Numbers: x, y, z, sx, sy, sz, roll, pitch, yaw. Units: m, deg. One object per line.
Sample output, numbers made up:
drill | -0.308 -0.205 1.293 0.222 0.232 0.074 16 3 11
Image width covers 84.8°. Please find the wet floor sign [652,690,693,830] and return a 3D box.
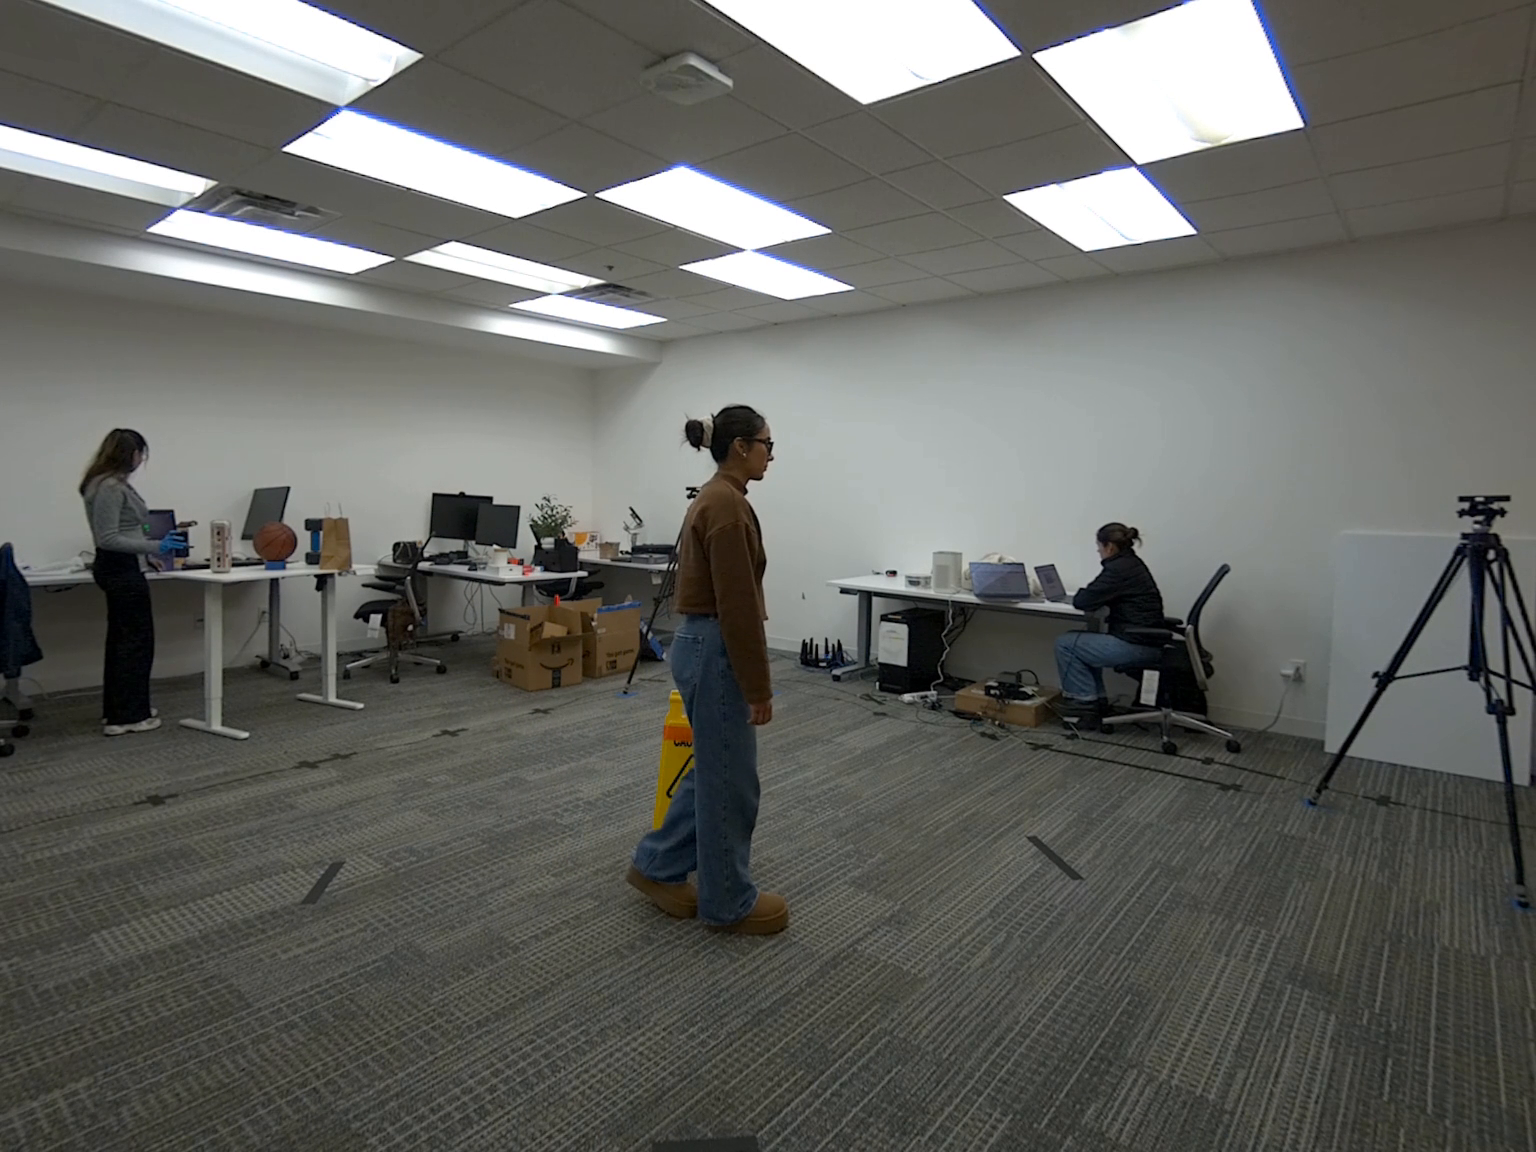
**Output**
wet floor sign | -0.278 0.737 3.099 0.285 0.644 0.288 0 4 9
